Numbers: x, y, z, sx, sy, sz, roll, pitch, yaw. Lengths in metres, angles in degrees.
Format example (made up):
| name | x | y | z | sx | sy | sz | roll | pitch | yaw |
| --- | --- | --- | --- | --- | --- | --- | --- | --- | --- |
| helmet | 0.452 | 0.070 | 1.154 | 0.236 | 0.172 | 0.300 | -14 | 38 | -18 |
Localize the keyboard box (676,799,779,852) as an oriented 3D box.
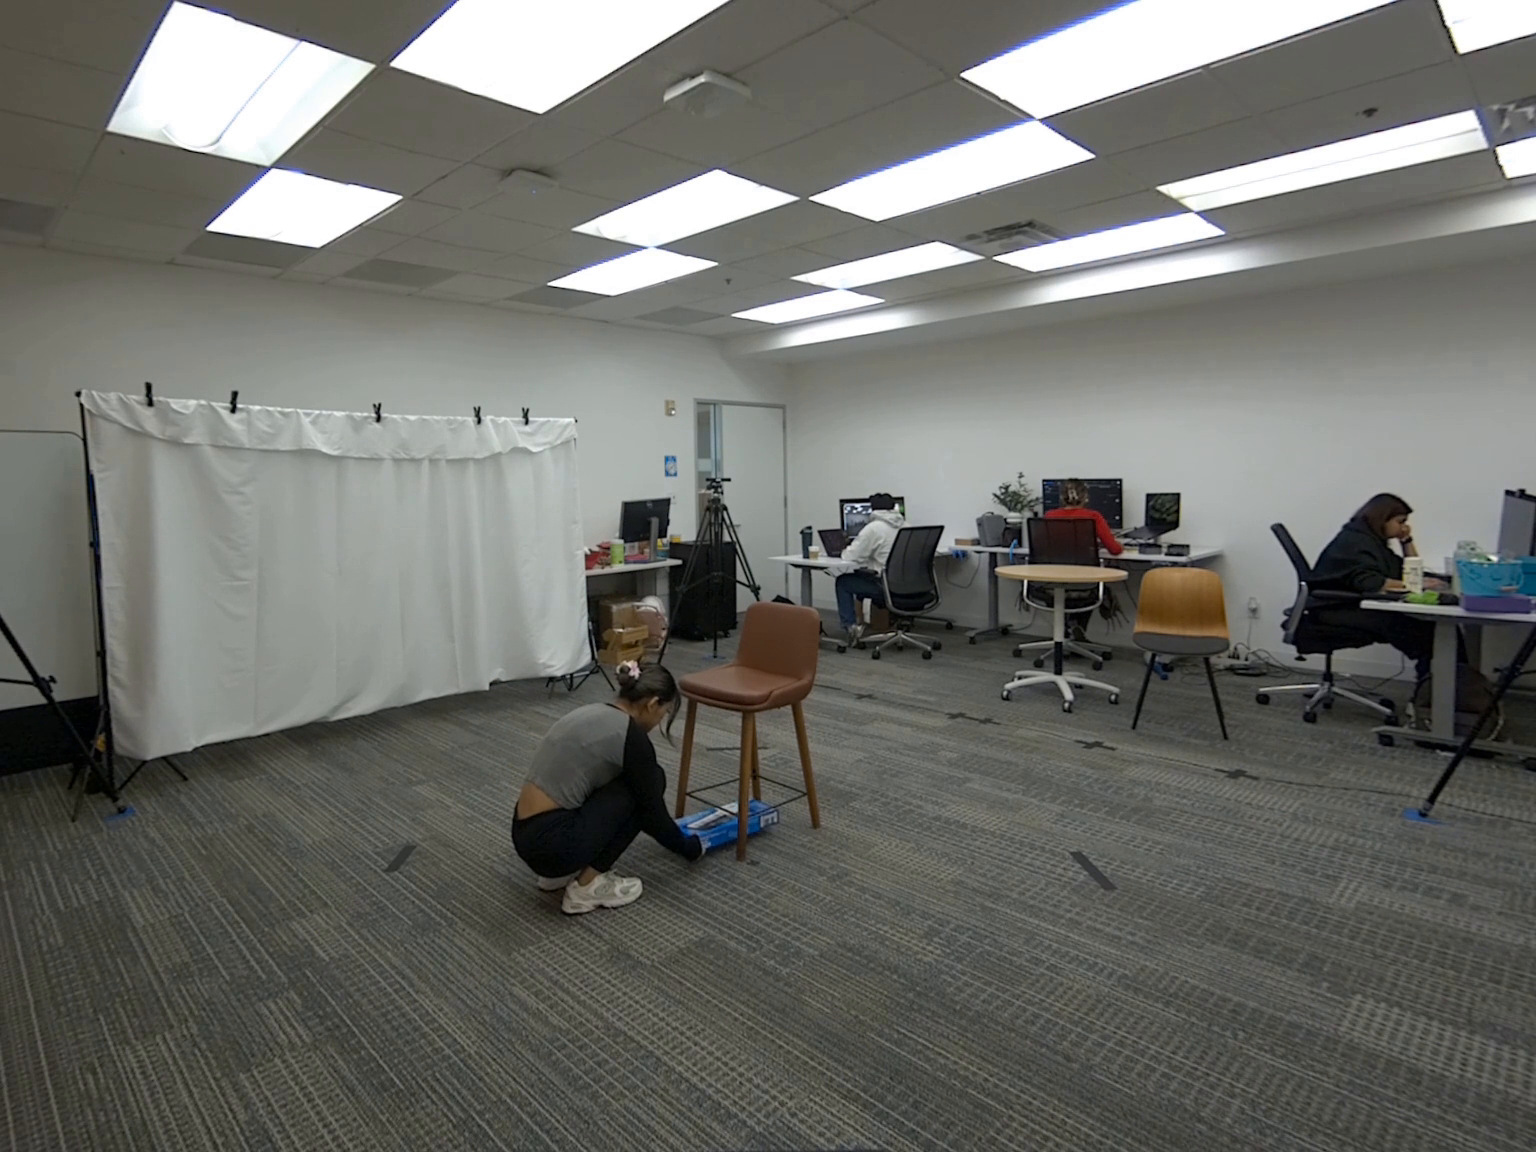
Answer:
| name | x | y | z | sx | sy | sz | roll | pitch | yaw |
| --- | --- | --- | --- | --- | --- | --- | --- | --- | --- |
| keyboard box | -0.176 | 0.951 | 3.297 | 0.425 | 0.059 | 0.181 | -3 | 7 | -42 |
